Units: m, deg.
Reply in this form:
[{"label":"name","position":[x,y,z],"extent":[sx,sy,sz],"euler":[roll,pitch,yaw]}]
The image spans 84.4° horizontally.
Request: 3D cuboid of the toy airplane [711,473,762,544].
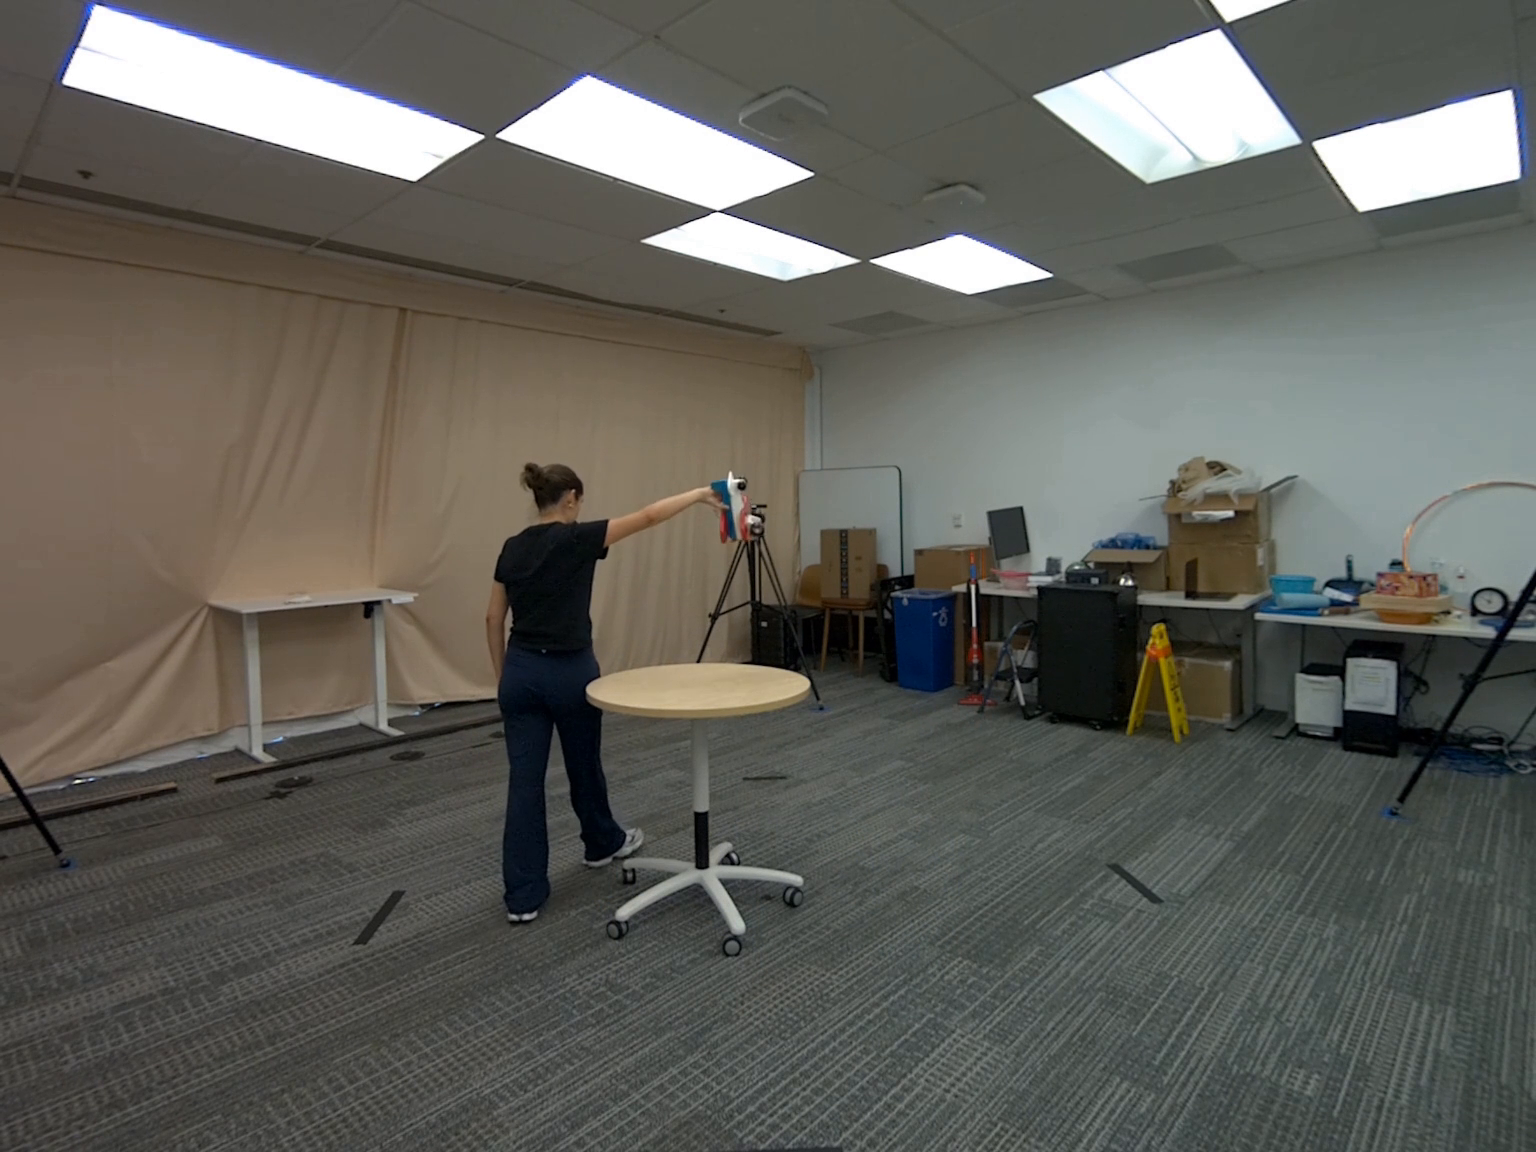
[{"label":"toy airplane","position":[-0.096,-0.247,3.097],"extent":[0.158,0.258,0.248],"euler":[-17,3,14]}]
